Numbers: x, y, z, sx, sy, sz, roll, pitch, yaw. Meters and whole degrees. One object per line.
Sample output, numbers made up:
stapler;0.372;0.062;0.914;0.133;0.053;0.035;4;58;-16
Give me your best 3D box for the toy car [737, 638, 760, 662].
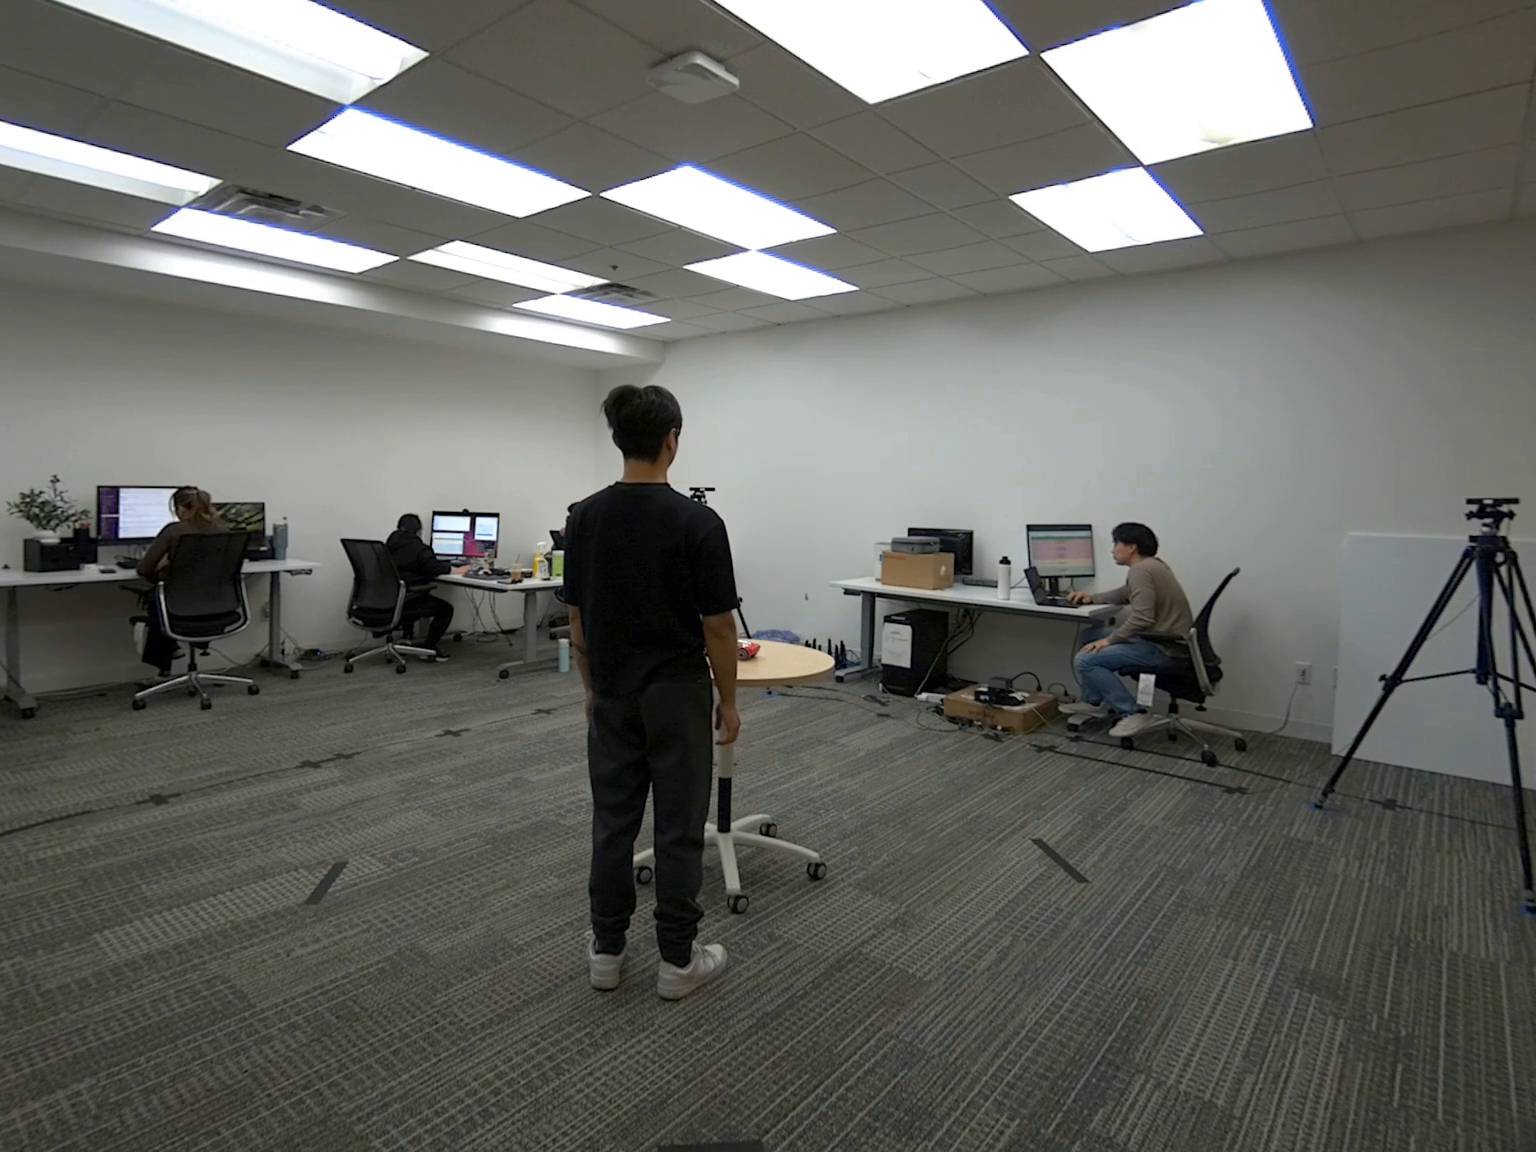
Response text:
toy car;-0.166;0.256;3.088;0.261;0.083;0.128;14;9;21
